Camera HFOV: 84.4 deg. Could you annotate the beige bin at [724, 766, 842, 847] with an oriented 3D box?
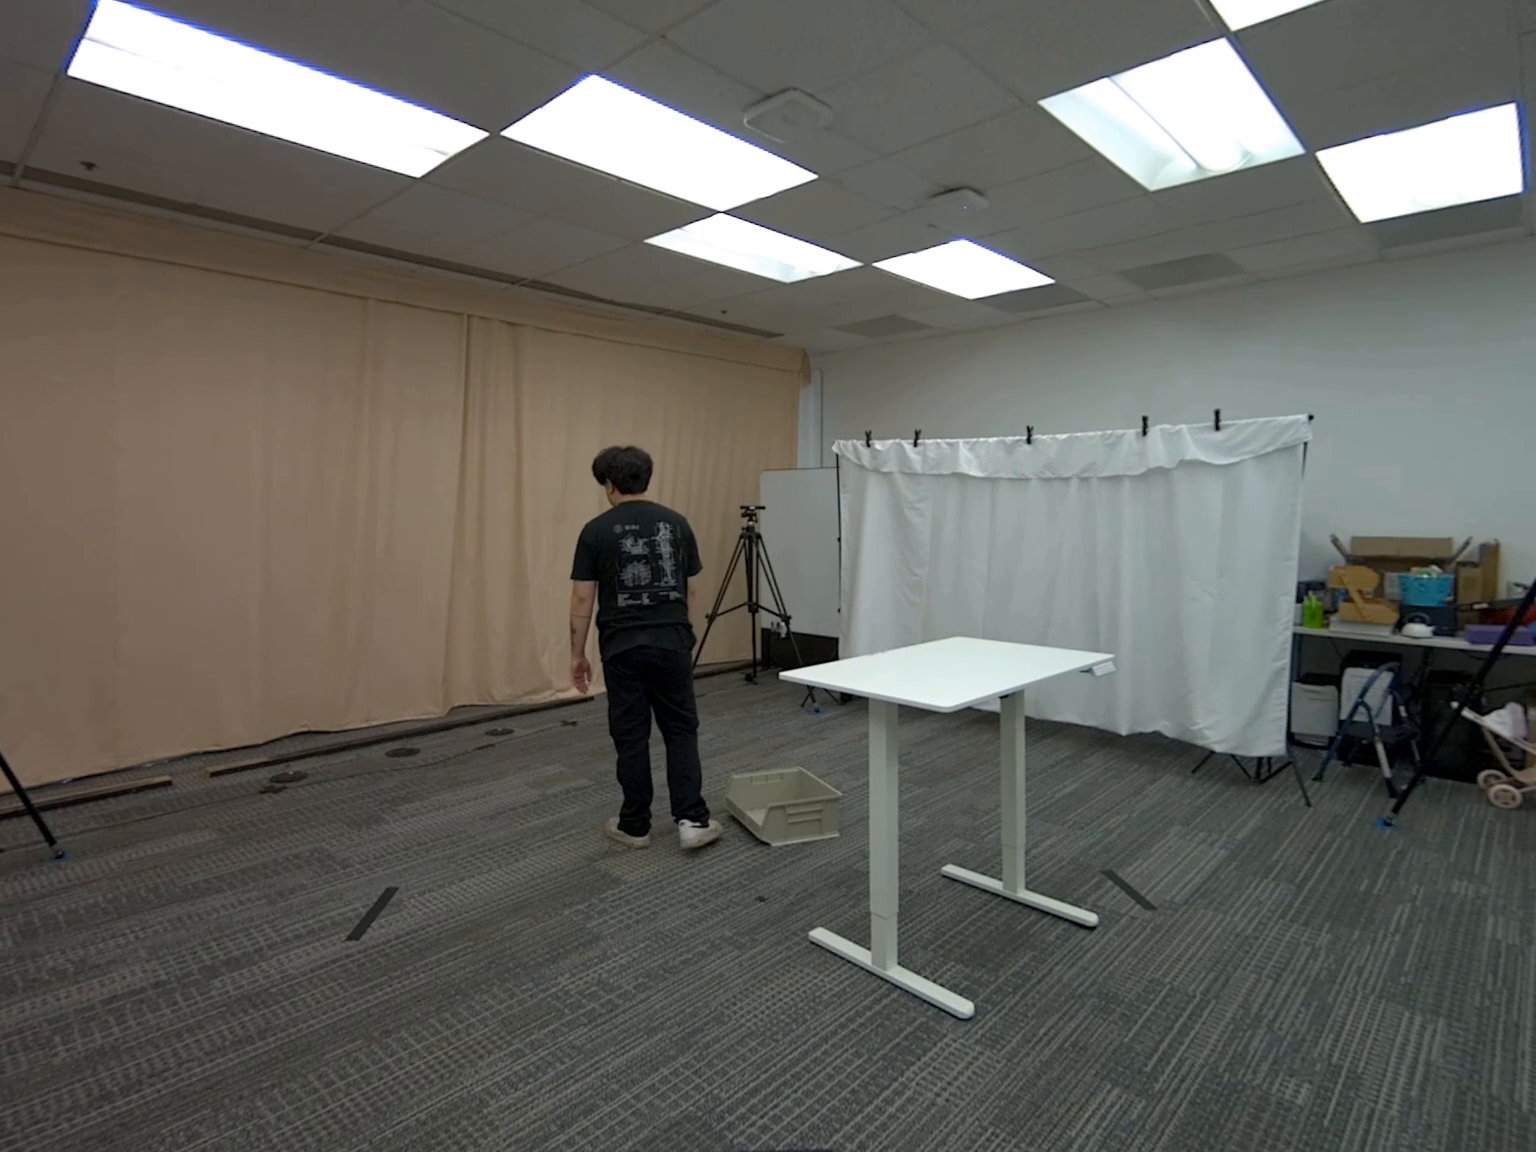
[{"bbox_3d":[0.058,0.999,3.667,0.369,0.188,0.432,-1,4,-22],"label":"beige bin"}]
